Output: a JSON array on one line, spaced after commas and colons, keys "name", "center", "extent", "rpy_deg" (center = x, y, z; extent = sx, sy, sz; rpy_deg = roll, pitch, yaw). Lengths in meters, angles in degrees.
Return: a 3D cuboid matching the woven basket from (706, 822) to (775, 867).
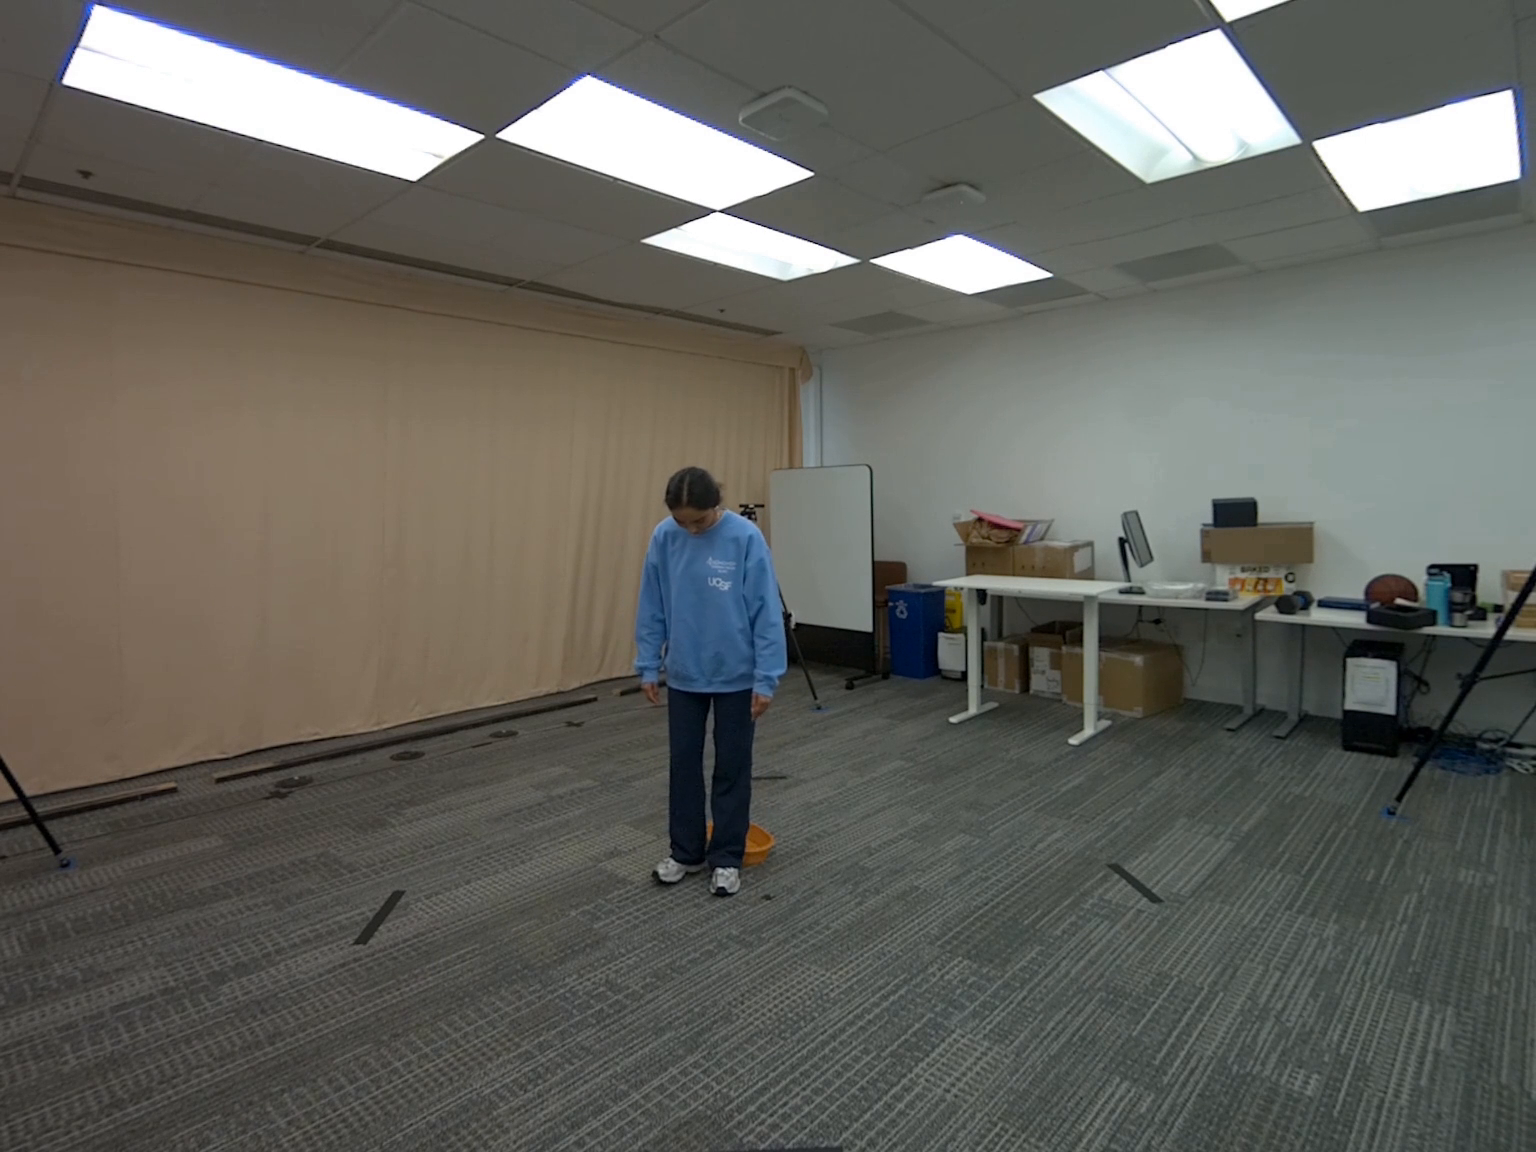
[{"name": "woven basket", "center": [-0.126, 1.068, 3.373], "extent": [0.246, 0.073, 0.360], "rpy_deg": [-2, 5, -26]}]
